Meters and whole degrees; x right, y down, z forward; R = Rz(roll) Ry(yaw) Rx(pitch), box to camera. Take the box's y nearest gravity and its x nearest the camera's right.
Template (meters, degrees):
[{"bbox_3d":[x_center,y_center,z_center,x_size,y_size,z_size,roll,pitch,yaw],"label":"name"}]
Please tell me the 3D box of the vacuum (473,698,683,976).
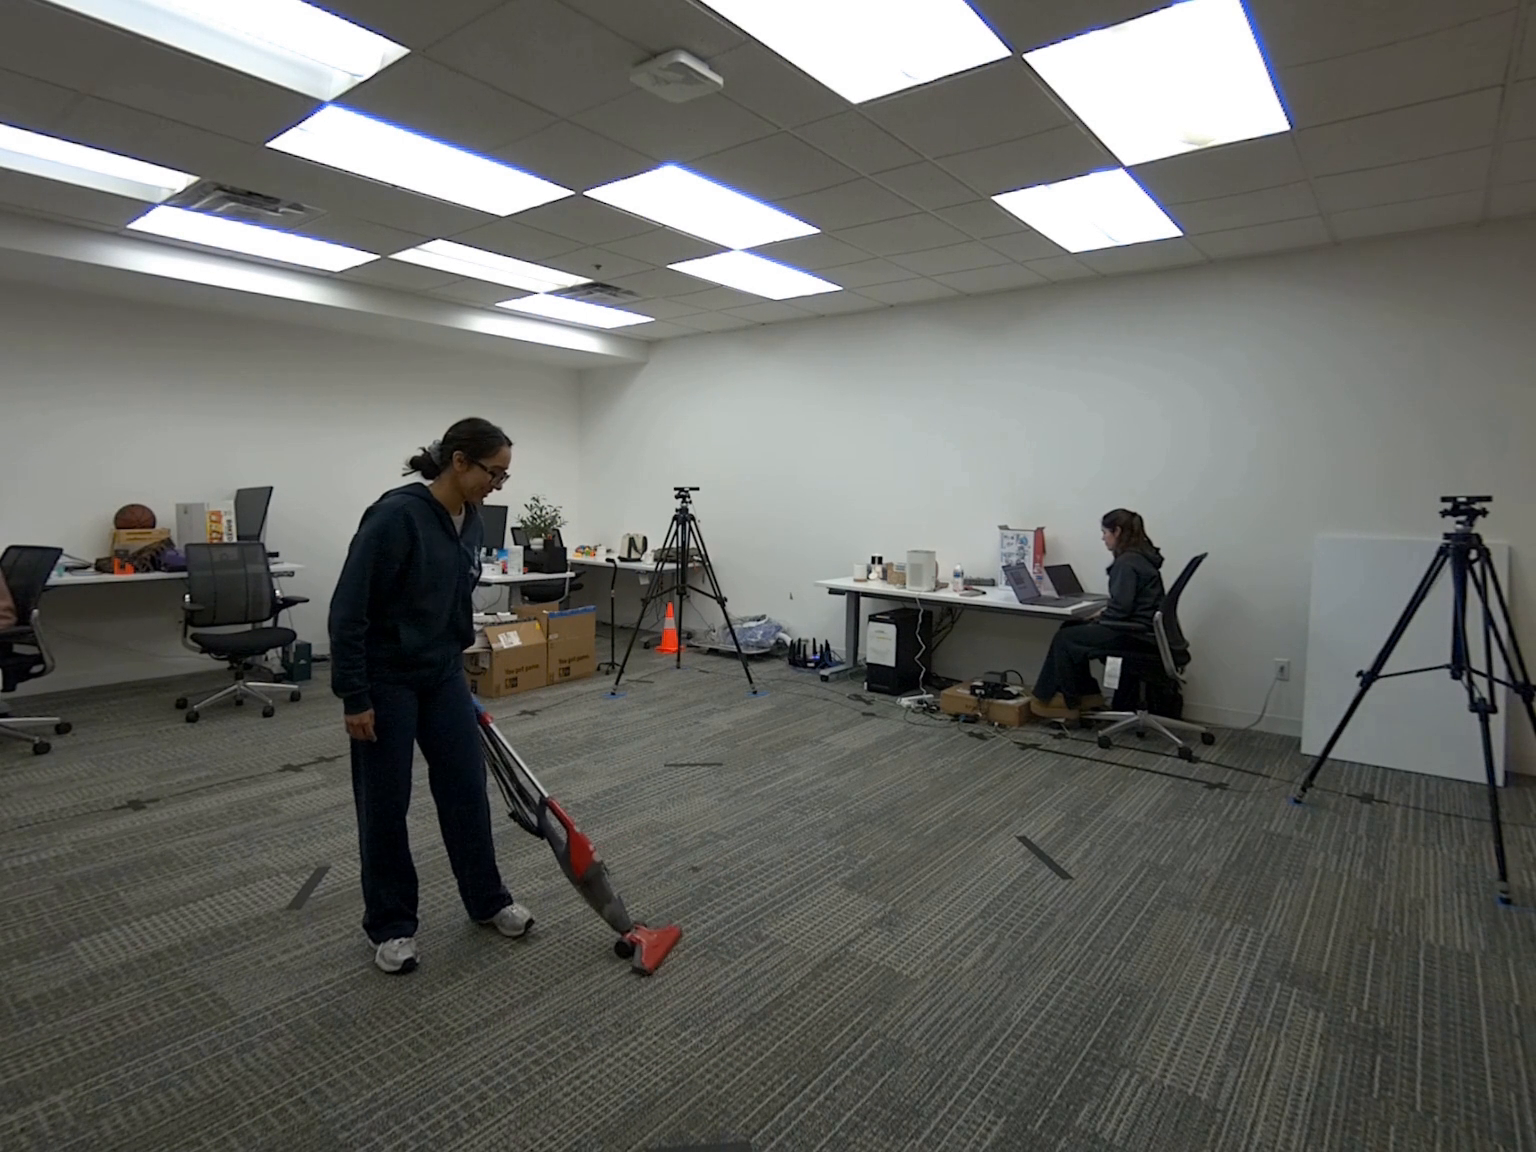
[{"bbox_3d":[-0.693,0.732,2.644,0.144,1.068,0.248,-45,-12,11],"label":"vacuum"}]
